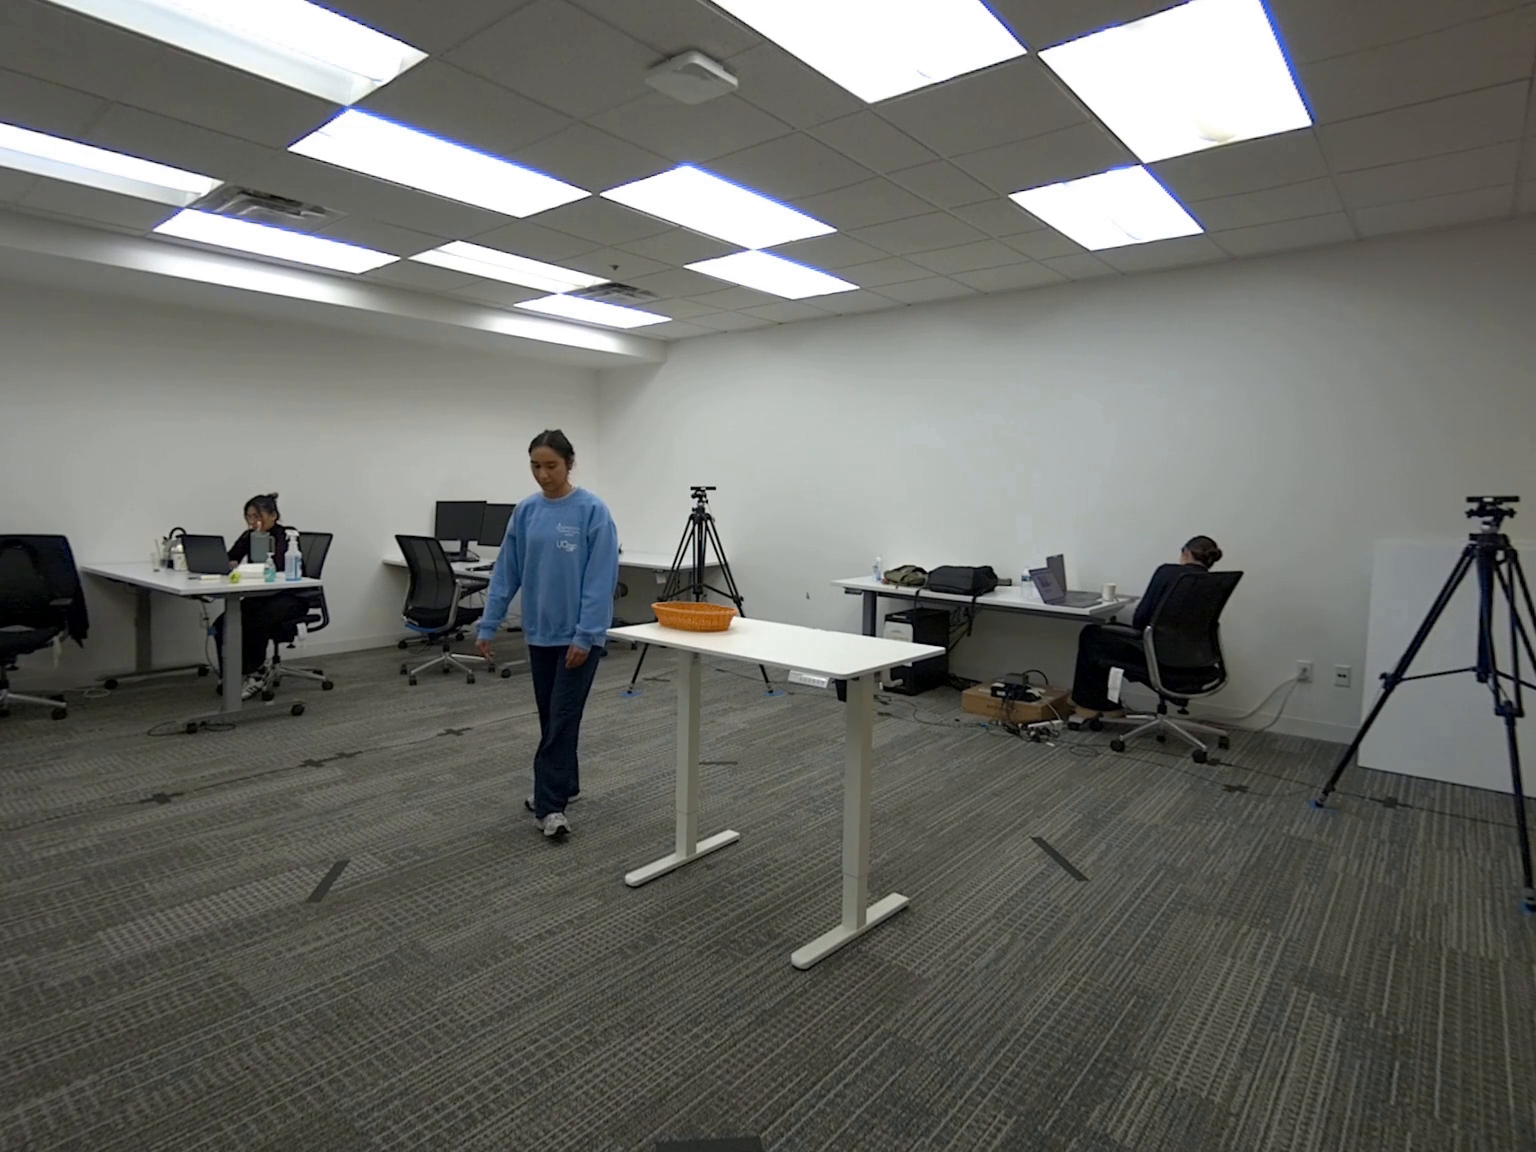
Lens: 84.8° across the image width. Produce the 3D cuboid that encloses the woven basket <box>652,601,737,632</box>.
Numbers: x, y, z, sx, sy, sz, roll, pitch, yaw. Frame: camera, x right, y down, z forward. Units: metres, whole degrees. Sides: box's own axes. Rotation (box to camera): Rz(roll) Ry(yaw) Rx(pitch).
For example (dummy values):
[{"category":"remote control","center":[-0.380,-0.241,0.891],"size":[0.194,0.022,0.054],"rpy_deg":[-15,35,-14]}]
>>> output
[{"category":"woven basket","center":[-0.283,0.152,3.109],"size":[0.362,0.073,0.244],"rpy_deg":[5,5,44]}]
